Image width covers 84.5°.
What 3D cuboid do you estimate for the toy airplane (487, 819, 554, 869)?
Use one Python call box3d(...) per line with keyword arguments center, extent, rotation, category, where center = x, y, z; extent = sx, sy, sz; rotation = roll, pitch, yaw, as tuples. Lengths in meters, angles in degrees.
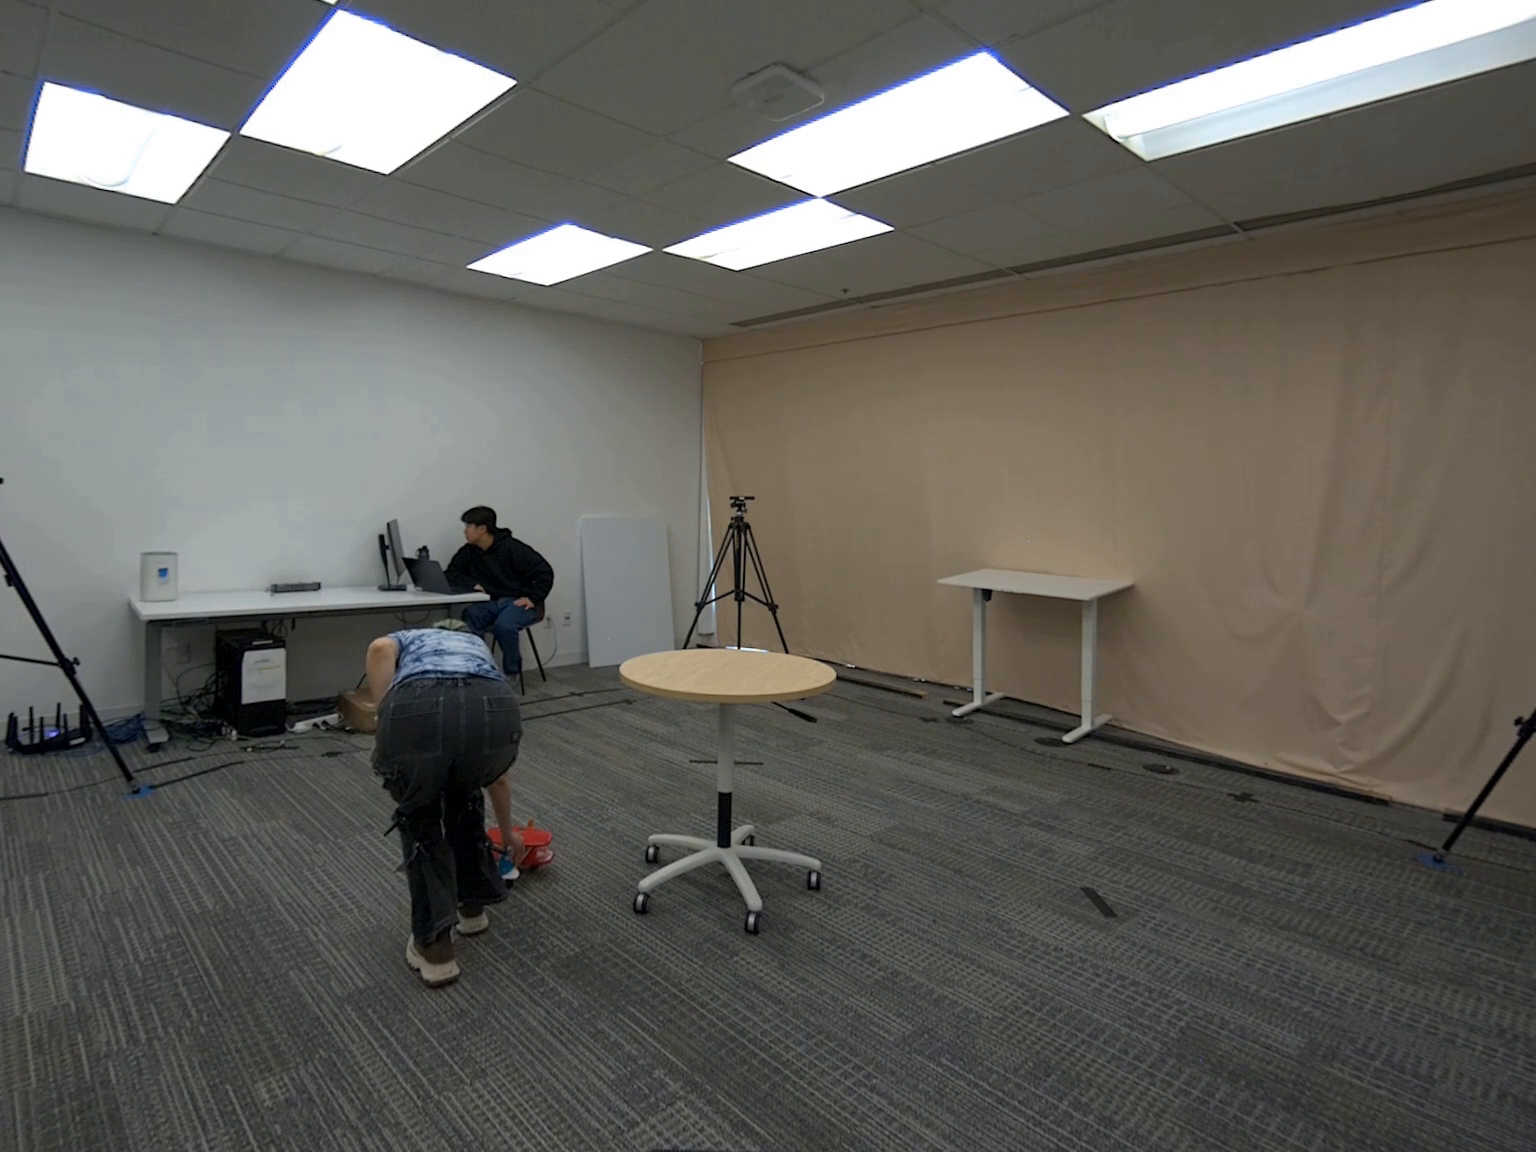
box3d(center=(-0.912, 1.022, 3.047), extent=(0.247, 0.156, 0.264), rotation=(-2, 4, -21), category="toy airplane")
